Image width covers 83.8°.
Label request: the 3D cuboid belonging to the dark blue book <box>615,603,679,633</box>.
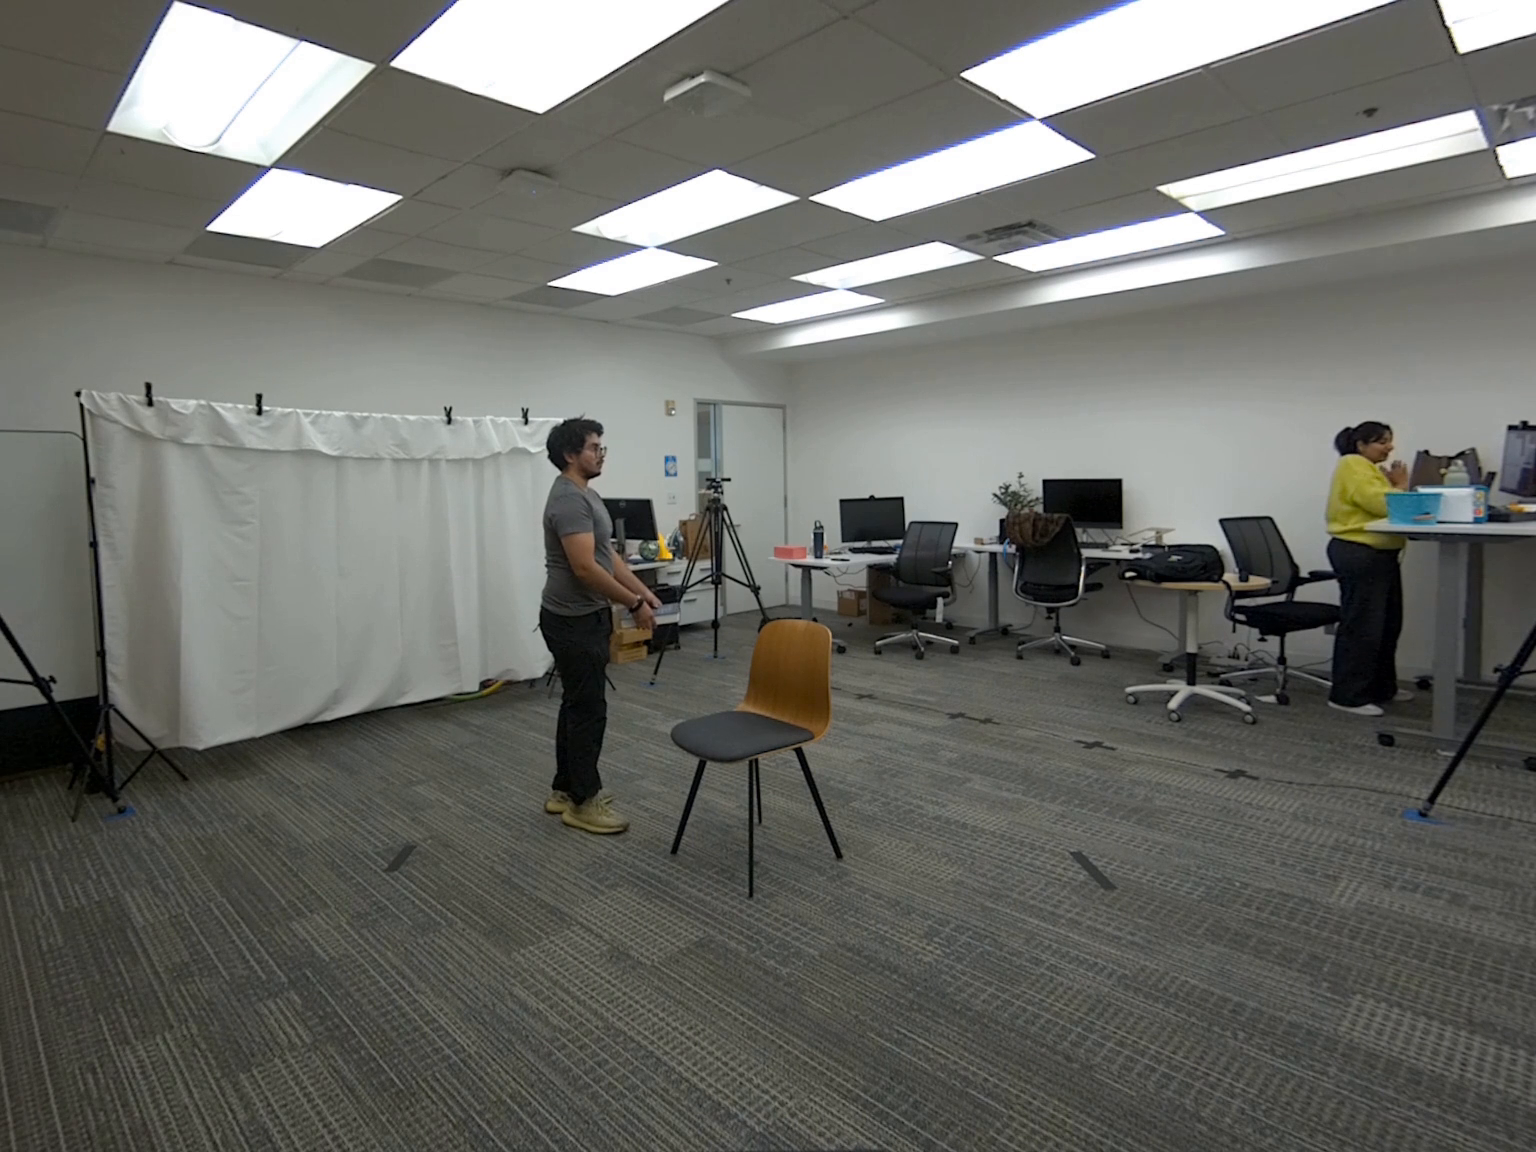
[{"bbox_3d":[-0.507,0.173,3.588,0.245,0.045,0.165,-9,12,1],"label":"dark blue book"}]
